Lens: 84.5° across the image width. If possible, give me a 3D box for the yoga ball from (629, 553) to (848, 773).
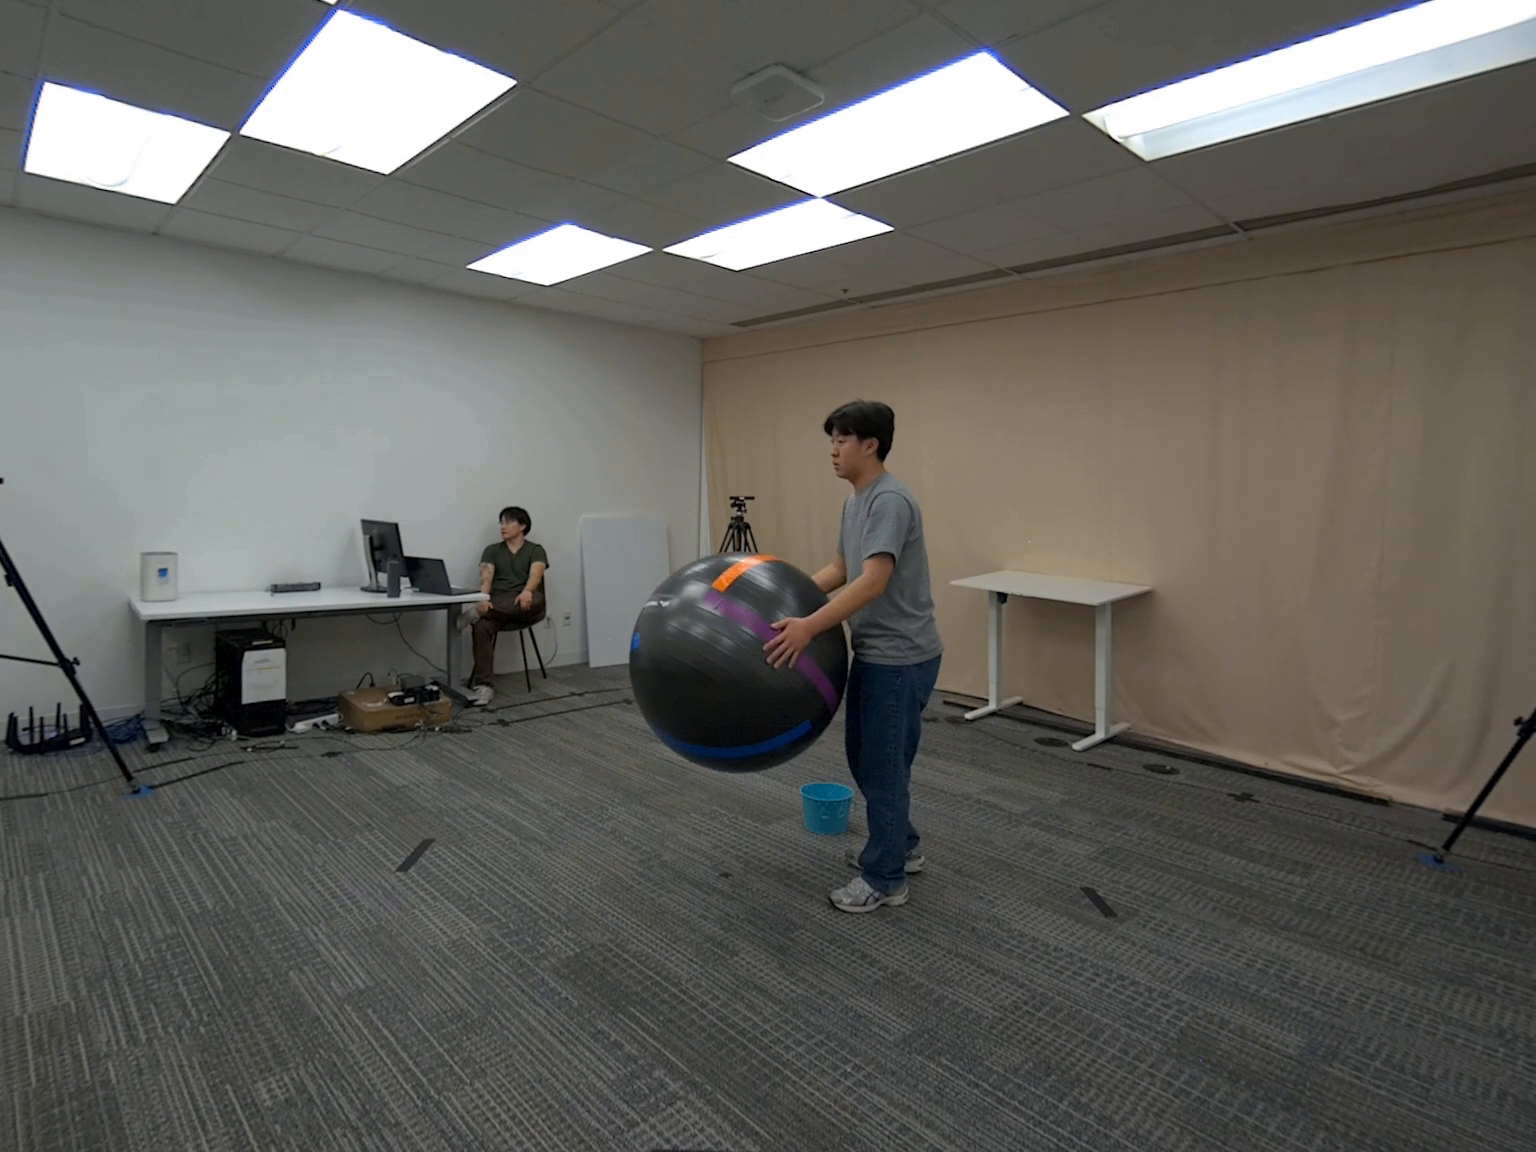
[{"bbox_3d":[-0.103,0.292,2.933,0.757,0.756,0.761,1,4,-1],"label":"yoga ball"}]
